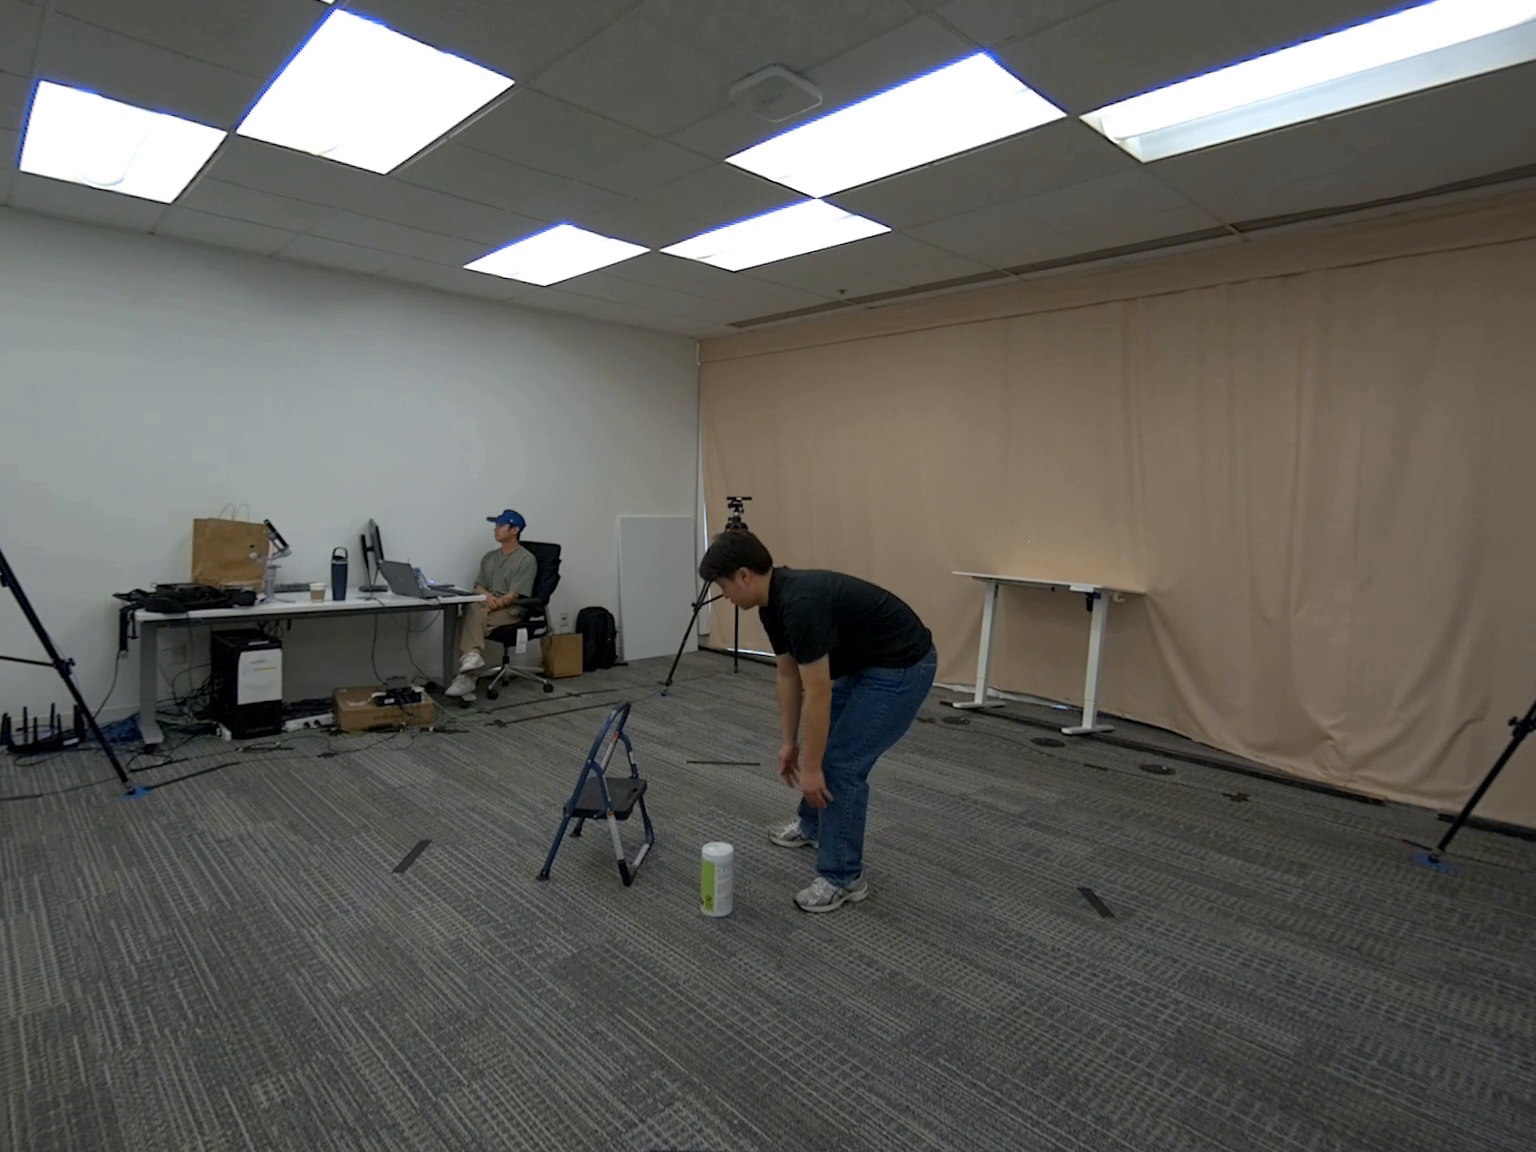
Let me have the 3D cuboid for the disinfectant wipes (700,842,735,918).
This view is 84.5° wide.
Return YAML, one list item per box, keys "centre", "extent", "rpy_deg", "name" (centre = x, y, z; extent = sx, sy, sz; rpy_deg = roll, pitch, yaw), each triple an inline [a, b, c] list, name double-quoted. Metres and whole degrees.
- centre: [-0.175, 1.025, 2.835]
  extent: [0.118, 0.217, 0.118]
  rpy_deg: [1, 3, -1]
  name: "disinfectant wipes"
